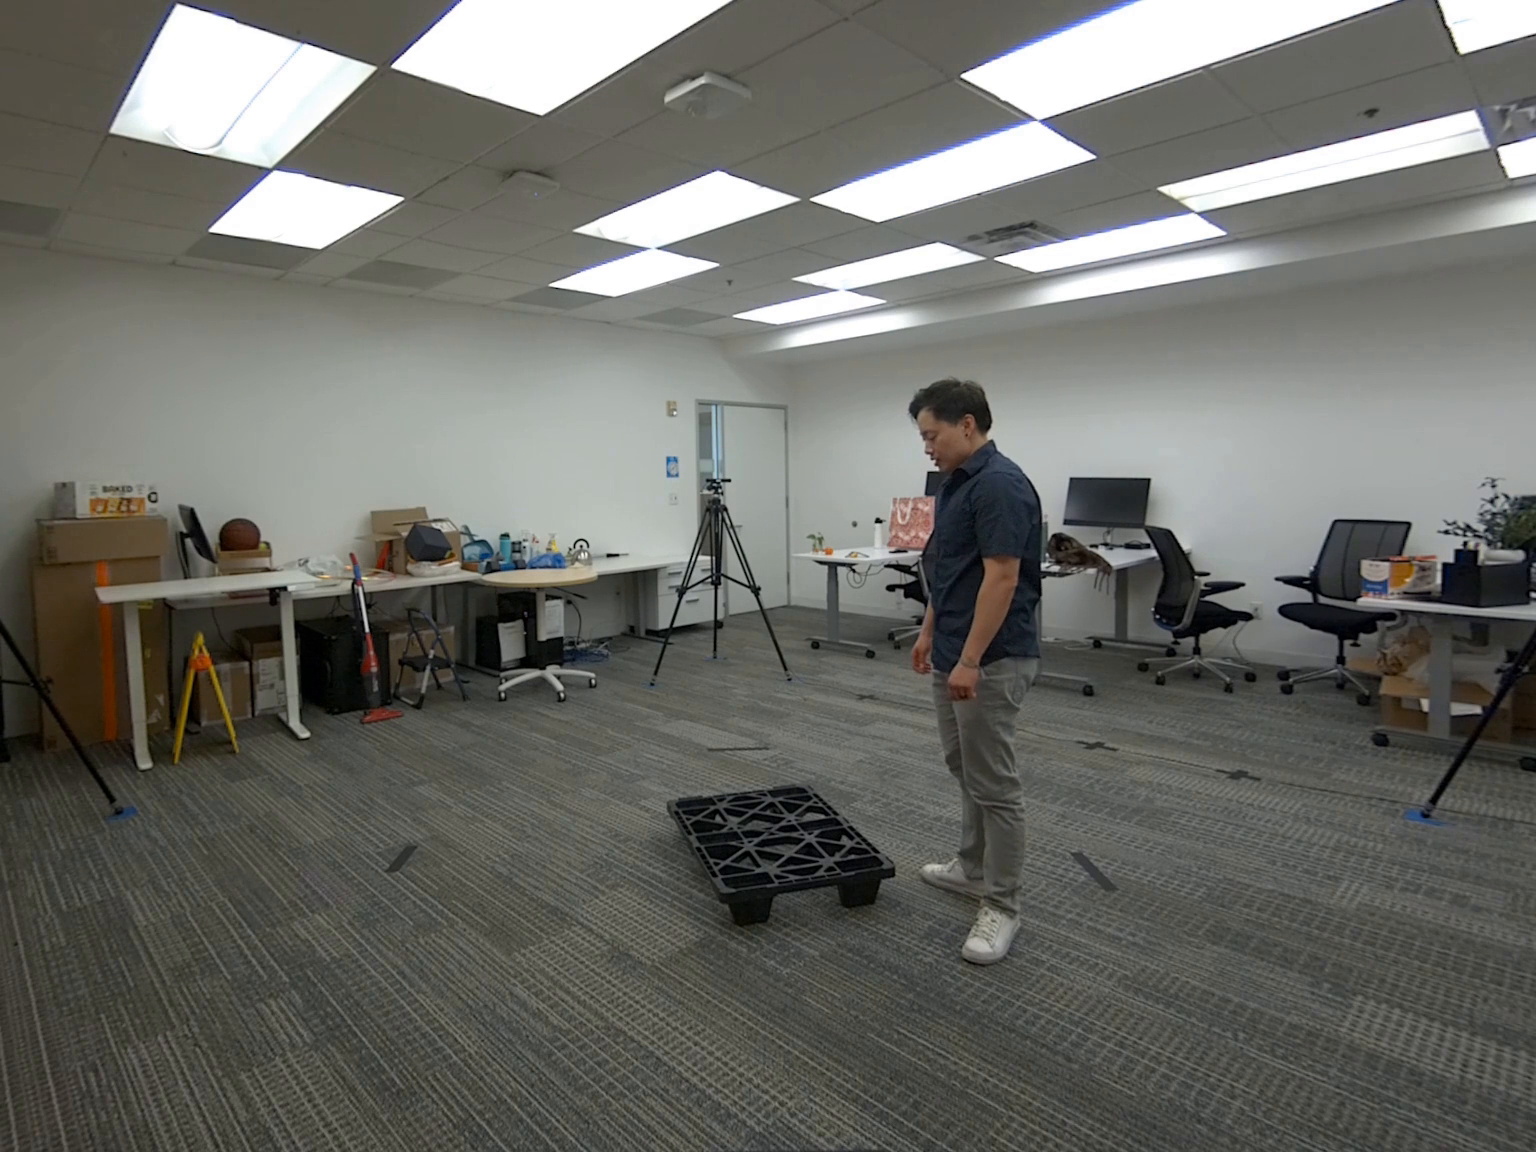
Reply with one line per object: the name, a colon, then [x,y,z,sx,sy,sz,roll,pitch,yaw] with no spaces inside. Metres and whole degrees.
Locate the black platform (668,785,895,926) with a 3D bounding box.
black platform: [0.009,0.978,3.075,0.596,0.143,0.821,-3,6,-18]
